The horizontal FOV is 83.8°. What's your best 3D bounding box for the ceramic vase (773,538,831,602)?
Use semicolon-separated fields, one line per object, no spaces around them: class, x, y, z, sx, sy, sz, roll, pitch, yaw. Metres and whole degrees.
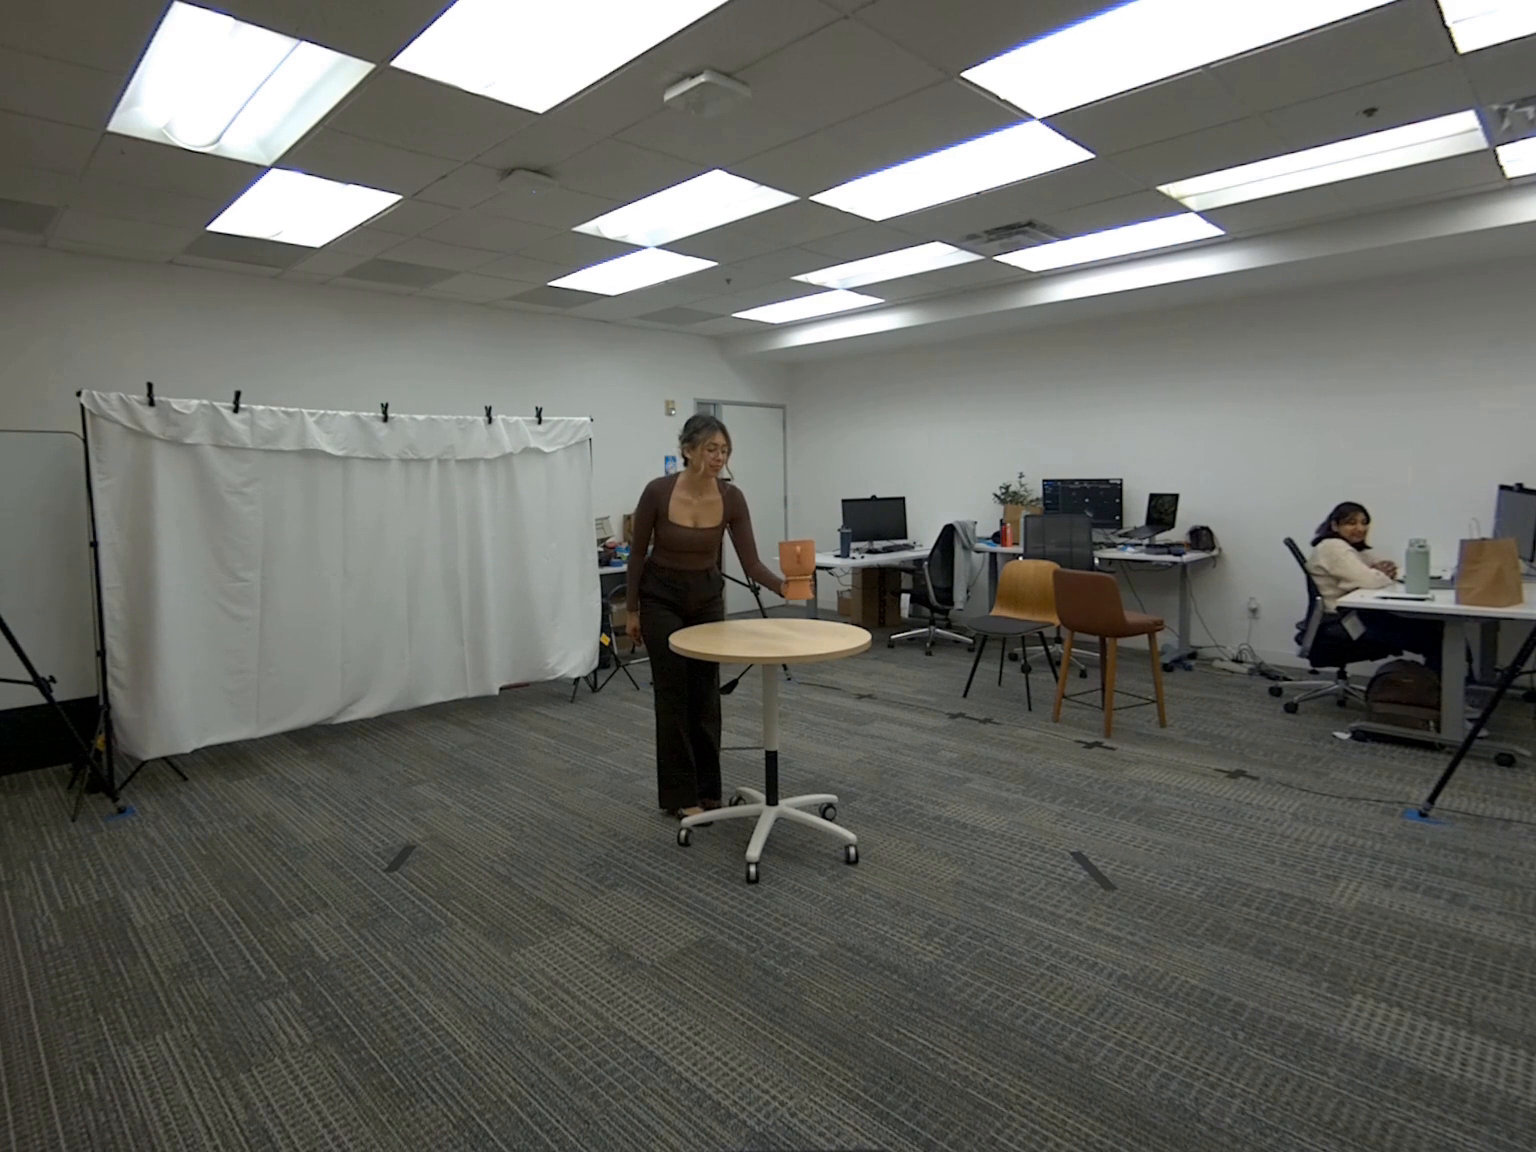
ceramic vase;0.124;-0.025;3.195;0.138;0.220;0.154;-3;1;38
